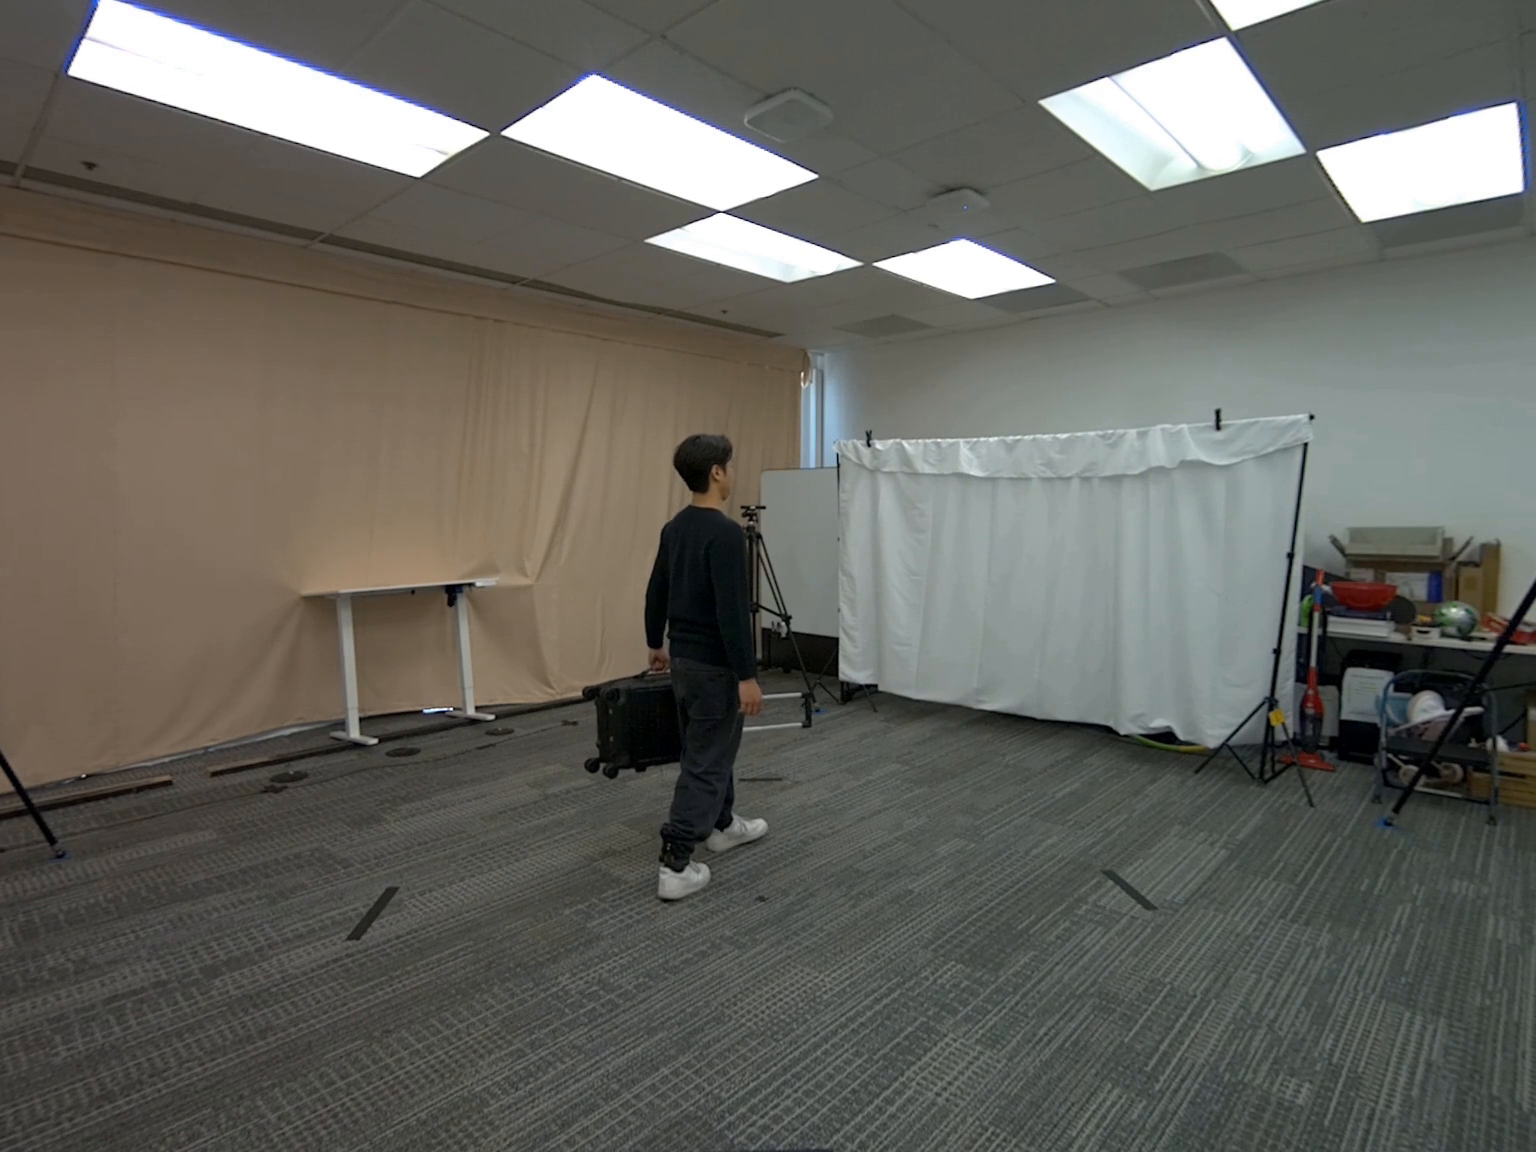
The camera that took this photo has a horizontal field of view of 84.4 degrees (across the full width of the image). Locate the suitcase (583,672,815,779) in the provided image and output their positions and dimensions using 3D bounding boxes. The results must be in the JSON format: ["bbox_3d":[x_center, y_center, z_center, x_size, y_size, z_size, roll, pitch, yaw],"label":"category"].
[{"bbox_3d":[-0.290,0.588,3.582,0.951,0.385,0.263,-1,-4,-31],"label":"suitcase"}]
